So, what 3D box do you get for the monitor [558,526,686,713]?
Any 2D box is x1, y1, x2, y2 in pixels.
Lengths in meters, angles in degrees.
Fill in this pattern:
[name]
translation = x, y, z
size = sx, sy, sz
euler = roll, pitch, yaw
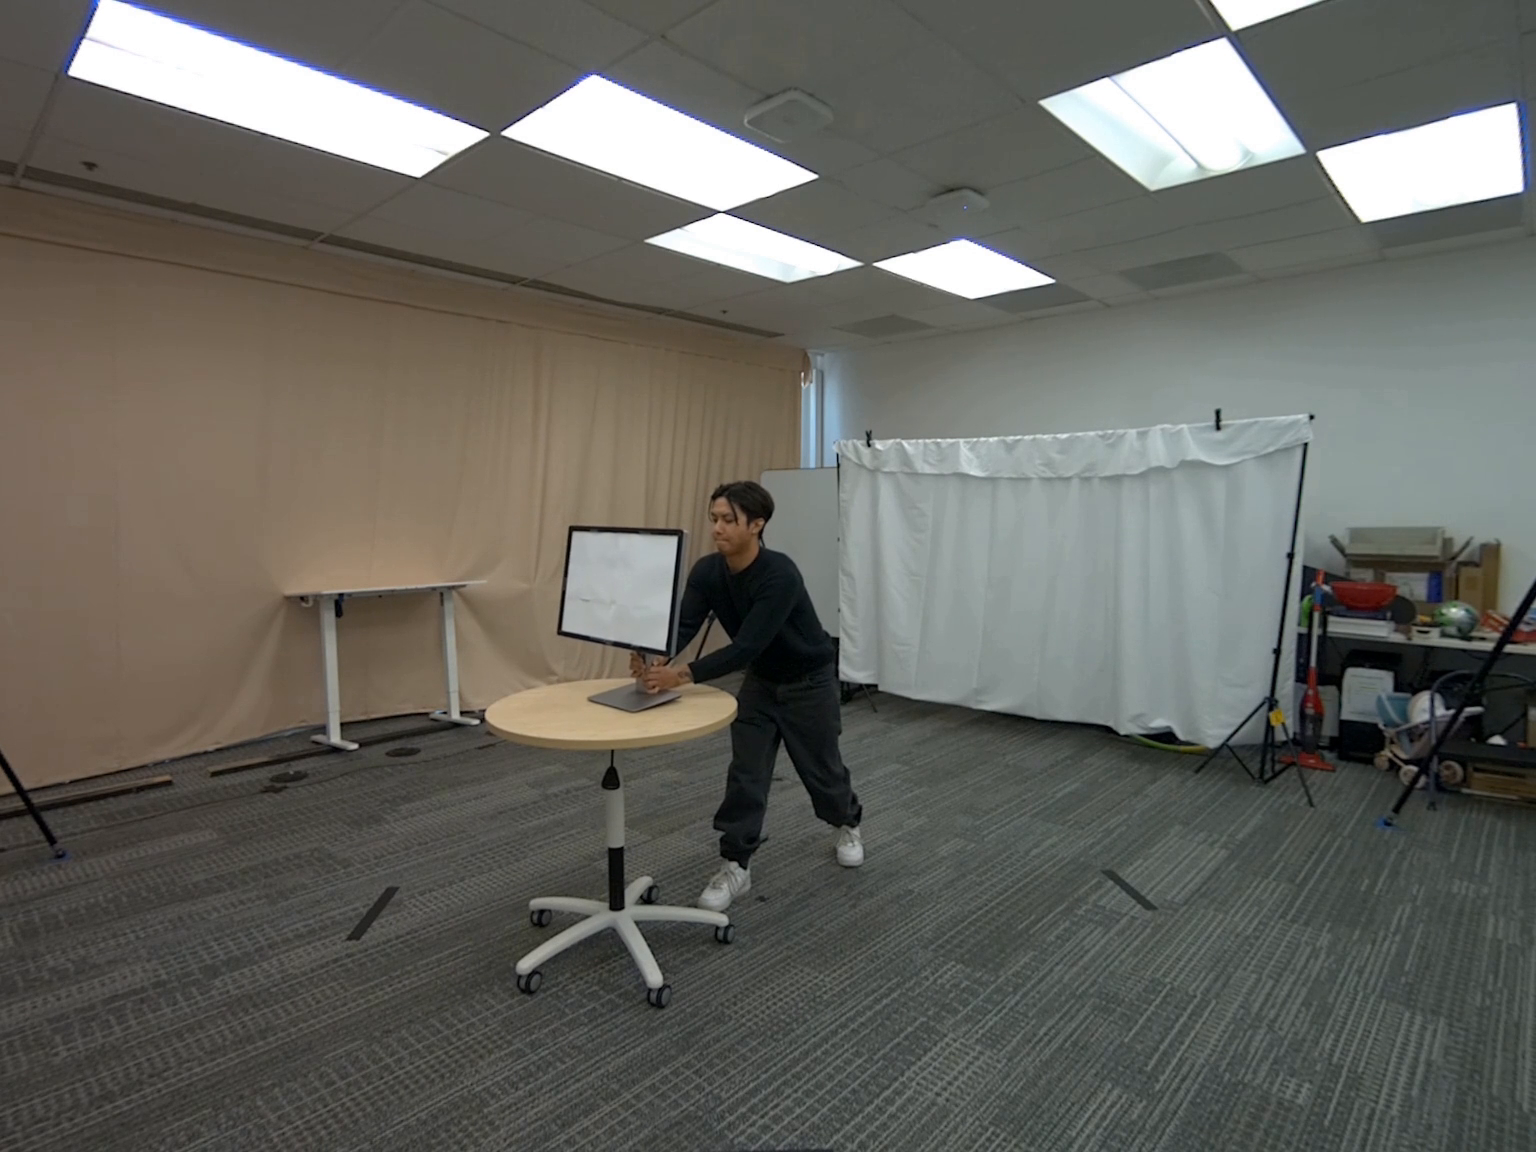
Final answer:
[monitor]
translation = -0.430, 0.123, 2.610
size = 0.557, 0.521, 0.181
euler = 4, 8, 43
